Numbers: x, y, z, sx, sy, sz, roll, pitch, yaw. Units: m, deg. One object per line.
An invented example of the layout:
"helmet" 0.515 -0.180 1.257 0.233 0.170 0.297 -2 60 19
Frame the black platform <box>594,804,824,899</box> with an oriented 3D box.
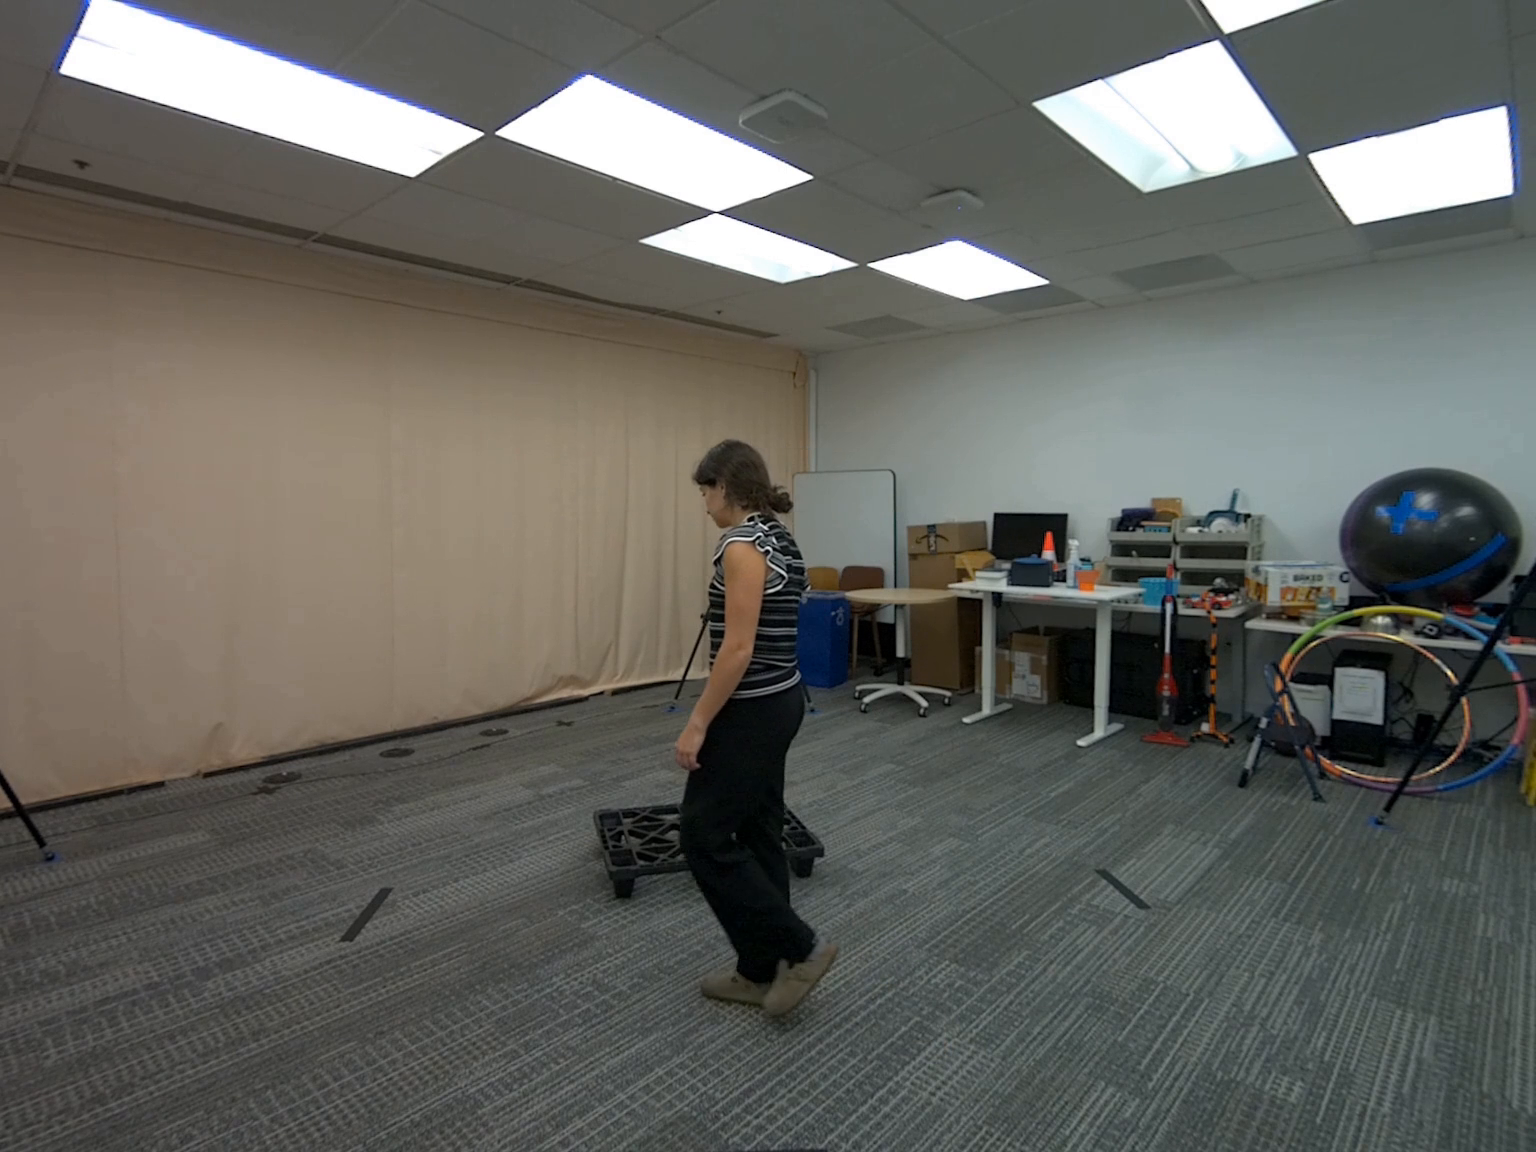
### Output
"black platform" -0.255 1.050 3.295 0.794 0.143 0.615 -2 4 -15
